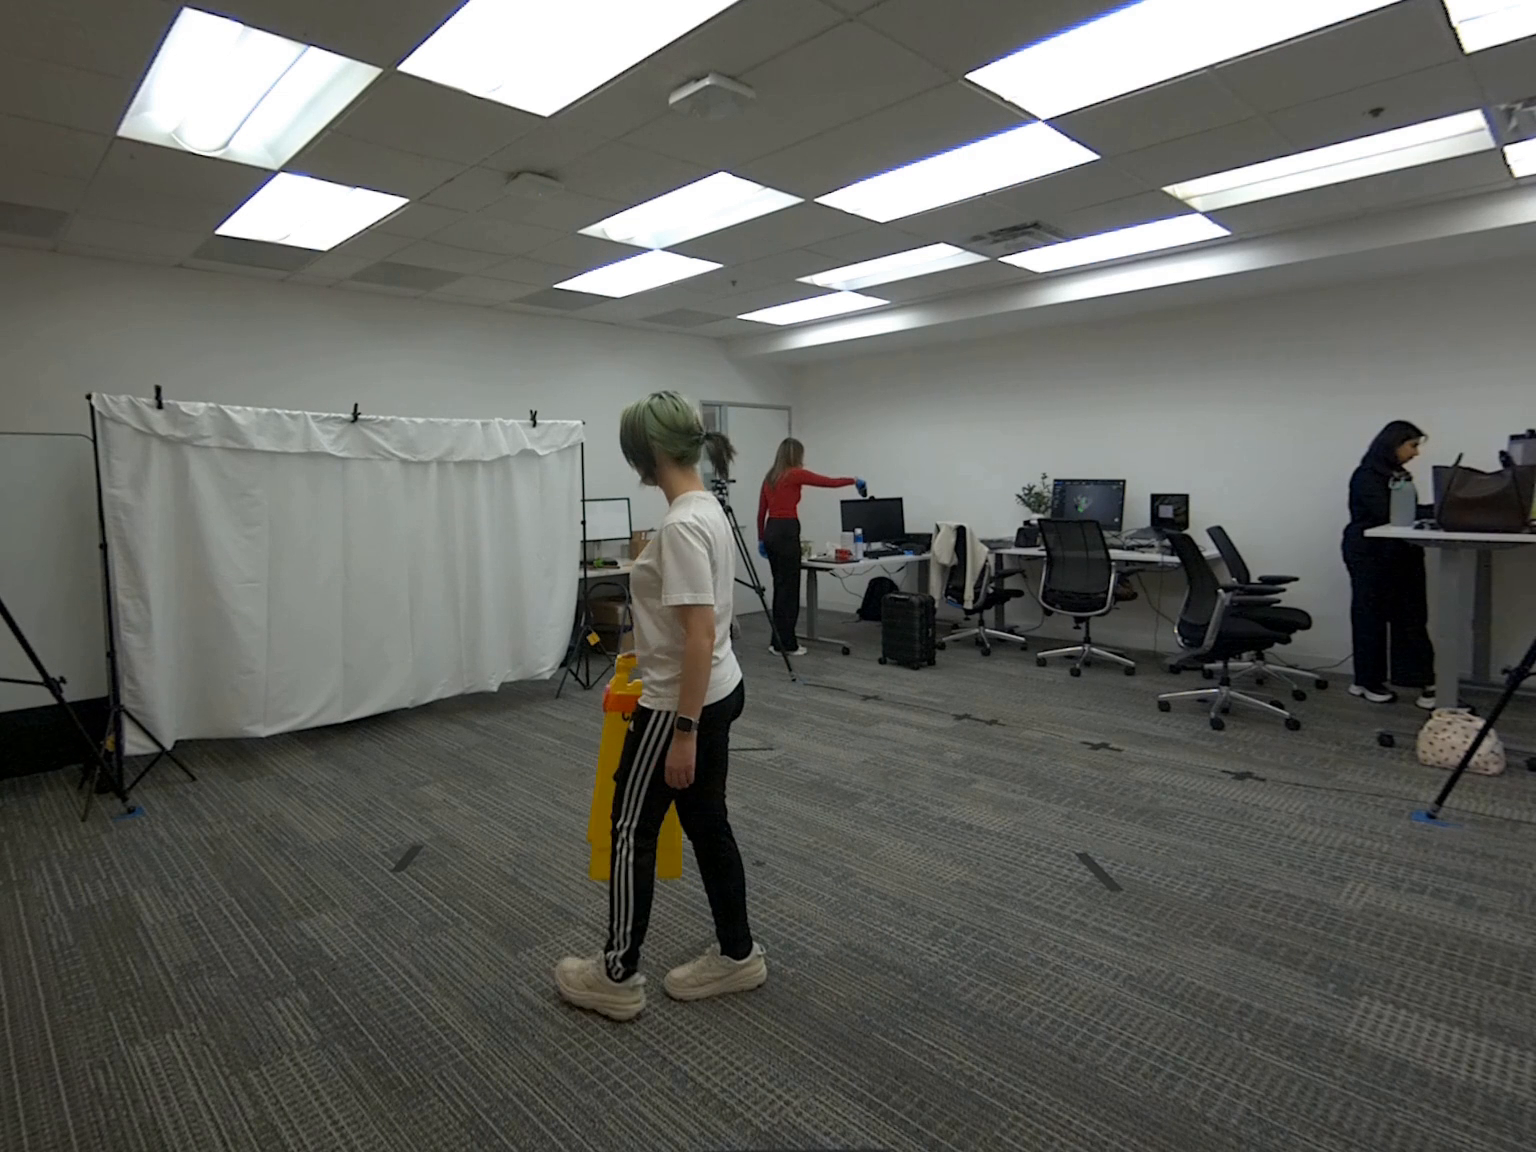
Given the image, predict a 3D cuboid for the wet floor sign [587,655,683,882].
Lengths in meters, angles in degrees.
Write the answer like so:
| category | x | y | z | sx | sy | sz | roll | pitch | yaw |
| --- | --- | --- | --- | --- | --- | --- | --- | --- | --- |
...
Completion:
| category | x | y | z | sx | sy | sz | roll | pitch | yaw |
| --- | --- | --- | --- | --- | --- | --- | --- | --- | --- |
| wet floor sign | -0.395 | 0.566 | 2.628 | 0.279 | 0.643 | 0.294 | 4 | 5 | -13 |
